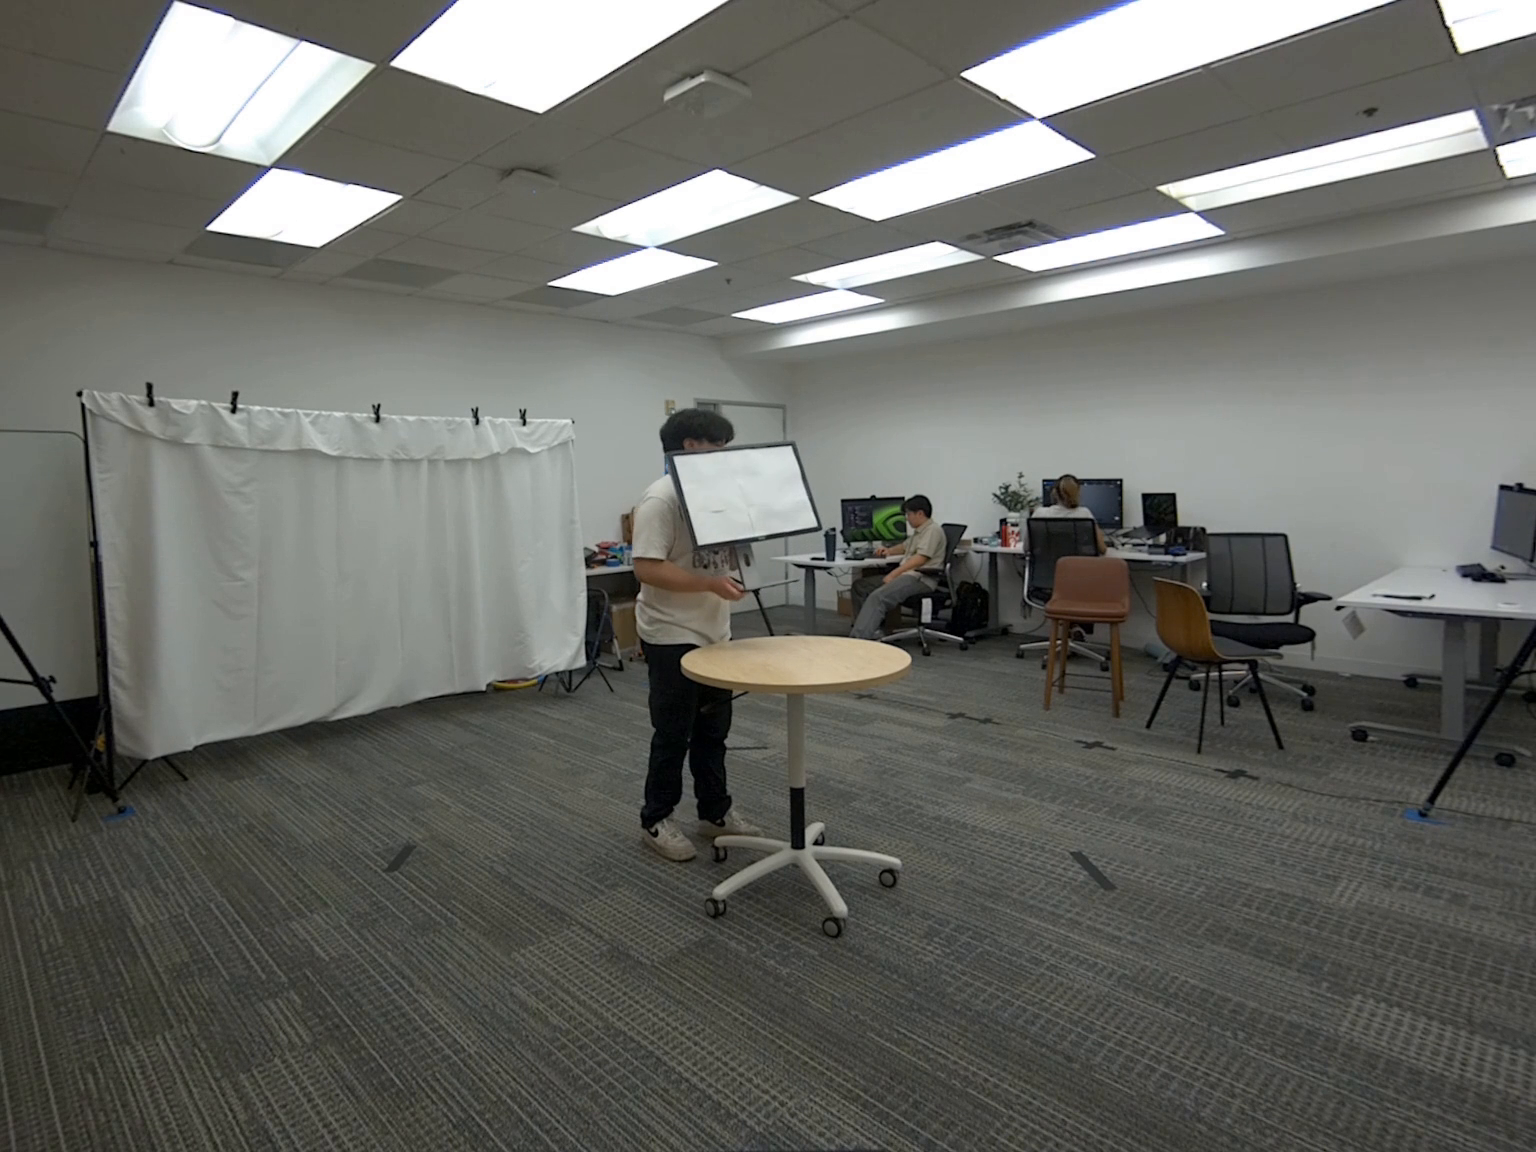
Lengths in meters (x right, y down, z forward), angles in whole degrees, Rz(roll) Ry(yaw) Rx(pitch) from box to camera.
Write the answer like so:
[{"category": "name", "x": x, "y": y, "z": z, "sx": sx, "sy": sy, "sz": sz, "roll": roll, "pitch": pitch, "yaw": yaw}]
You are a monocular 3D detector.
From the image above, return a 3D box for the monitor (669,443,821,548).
[{"category": "monitor", "x": -0.102, "y": -0.195, "z": 3.118, "sx": 0.553, "sy": 0.558, "sz": 0.213, "roll": -11, "pitch": -7, "yaw": -34}]
